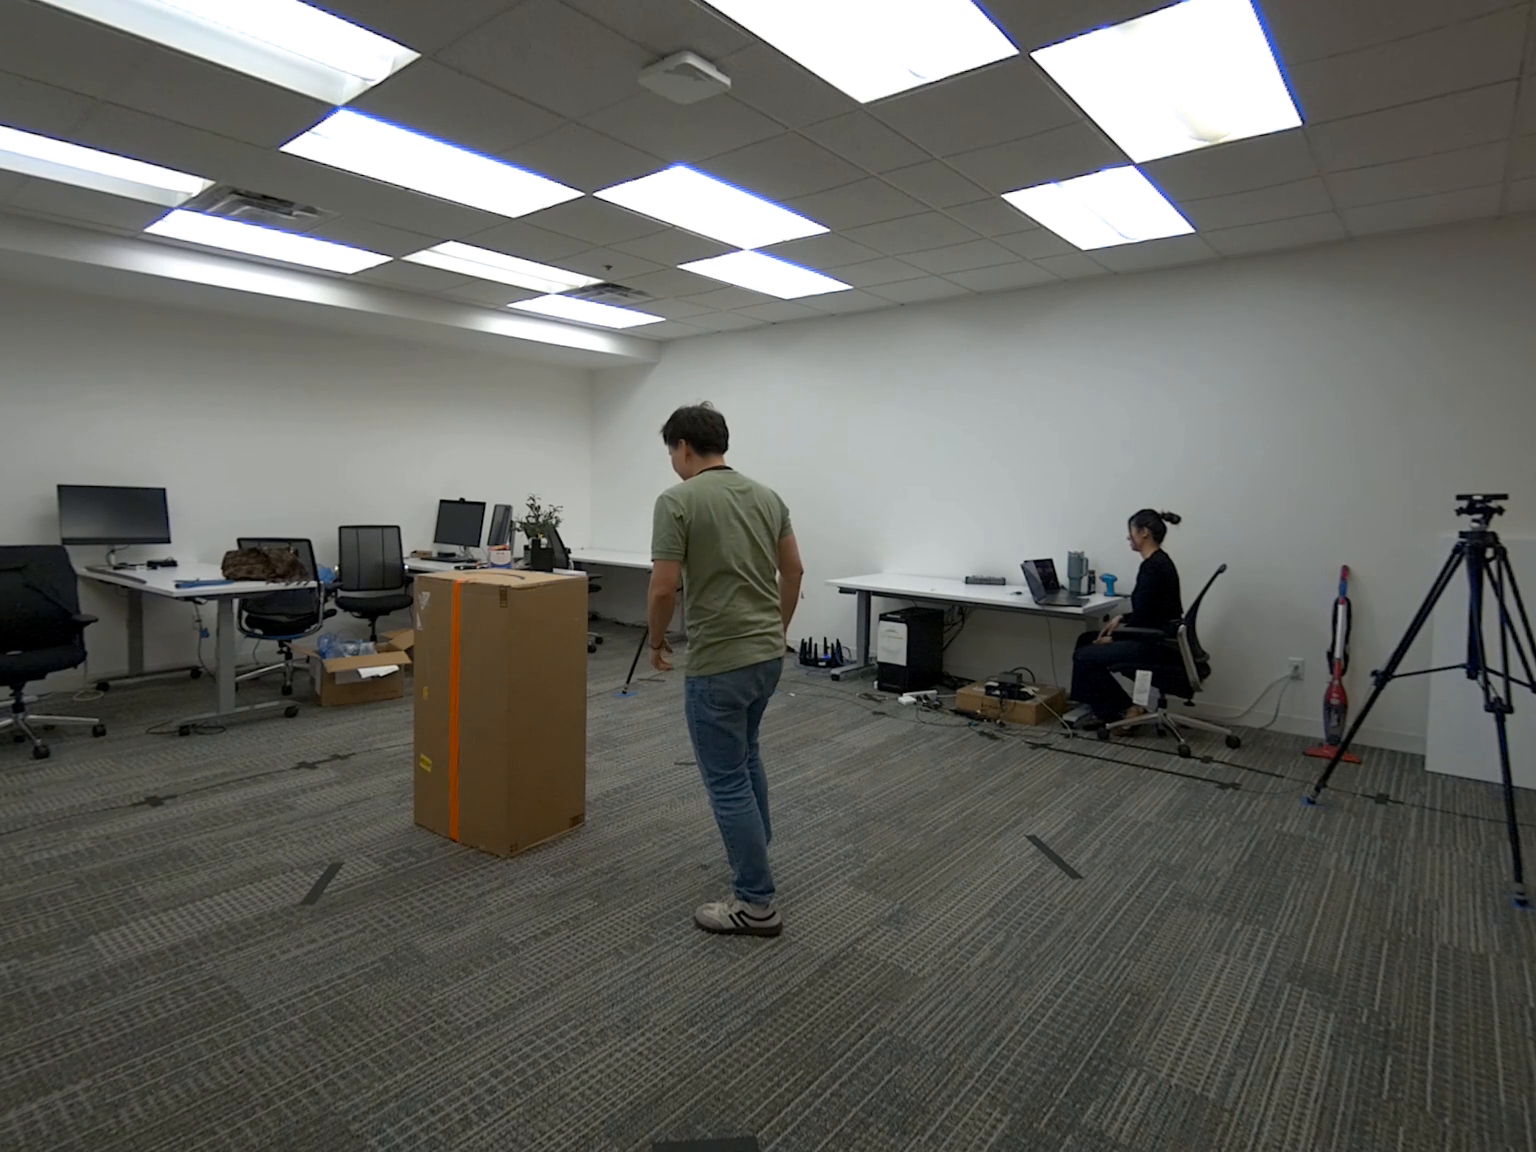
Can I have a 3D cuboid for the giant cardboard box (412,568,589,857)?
[{"bbox_3d":[-1.104,0.509,3.459,0.596,1.023,0.414,3,4,34],"label":"giant cardboard box"}]
